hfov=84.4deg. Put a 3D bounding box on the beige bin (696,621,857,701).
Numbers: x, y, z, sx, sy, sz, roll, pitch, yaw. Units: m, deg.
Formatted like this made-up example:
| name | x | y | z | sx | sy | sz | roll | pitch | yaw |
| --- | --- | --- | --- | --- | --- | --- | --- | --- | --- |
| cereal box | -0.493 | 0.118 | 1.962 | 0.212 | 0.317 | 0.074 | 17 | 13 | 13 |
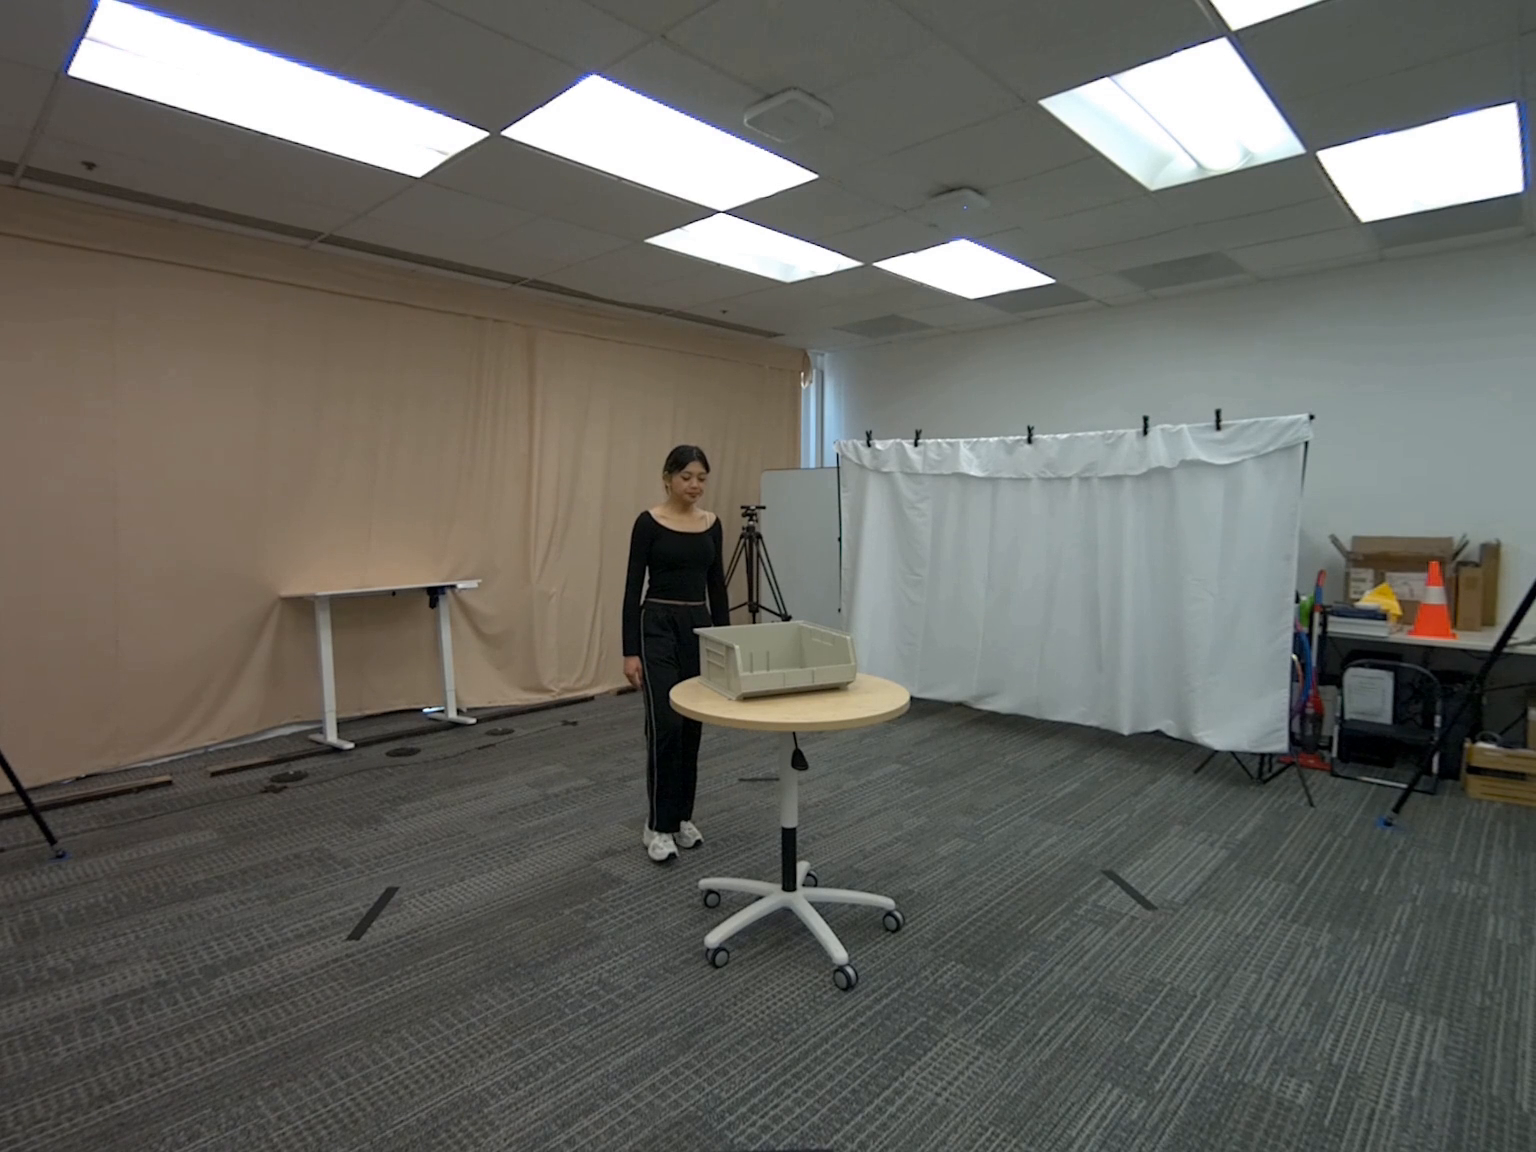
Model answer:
| name | x | y | z | sx | sy | sz | roll | pitch | yaw |
| --- | --- | --- | --- | --- | --- | --- | --- | --- | --- |
| beige bin | 0.024 | 0.276 | 2.787 | 0.413 | 0.188 | 0.387 | -3 | 4 | -24 |
